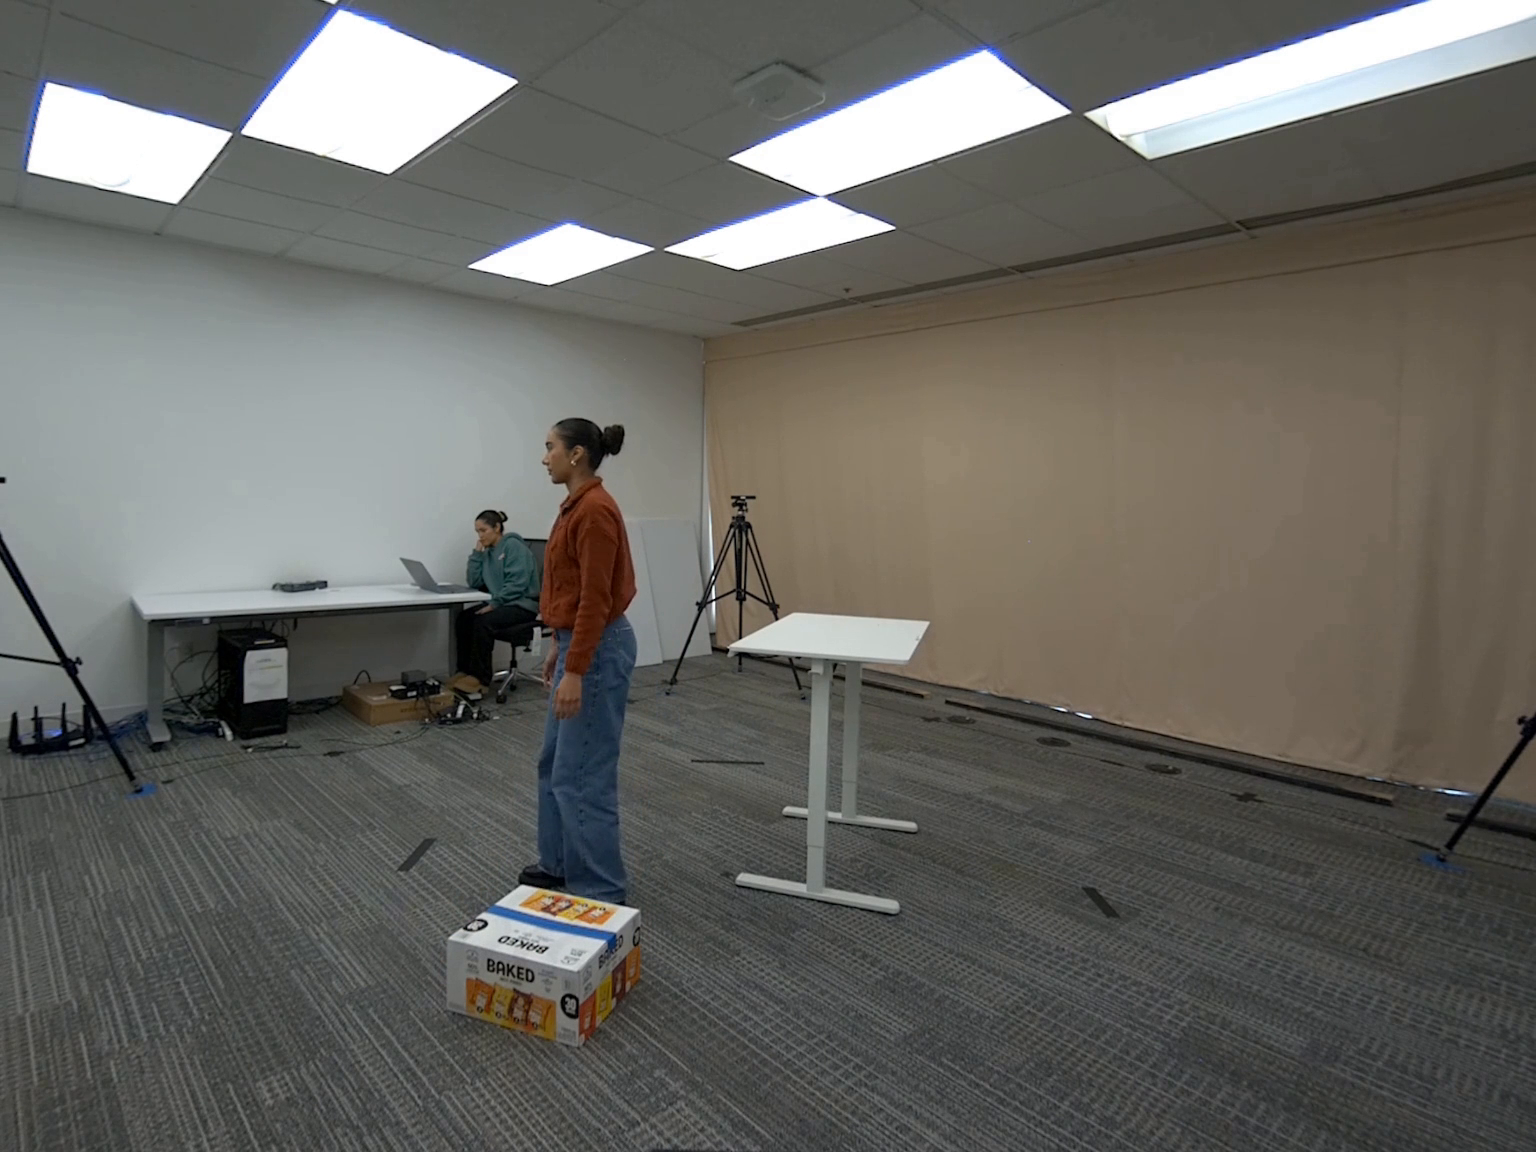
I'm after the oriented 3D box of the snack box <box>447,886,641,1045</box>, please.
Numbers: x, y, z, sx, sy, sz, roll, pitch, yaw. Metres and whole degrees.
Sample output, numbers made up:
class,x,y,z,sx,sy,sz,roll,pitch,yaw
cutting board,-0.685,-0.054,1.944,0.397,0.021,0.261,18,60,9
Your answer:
class,x,y,z,sx,sy,sz,roll,pitch,yaw
snack box,-0.617,1.065,2.322,0.412,0.205,0.336,3,5,20
